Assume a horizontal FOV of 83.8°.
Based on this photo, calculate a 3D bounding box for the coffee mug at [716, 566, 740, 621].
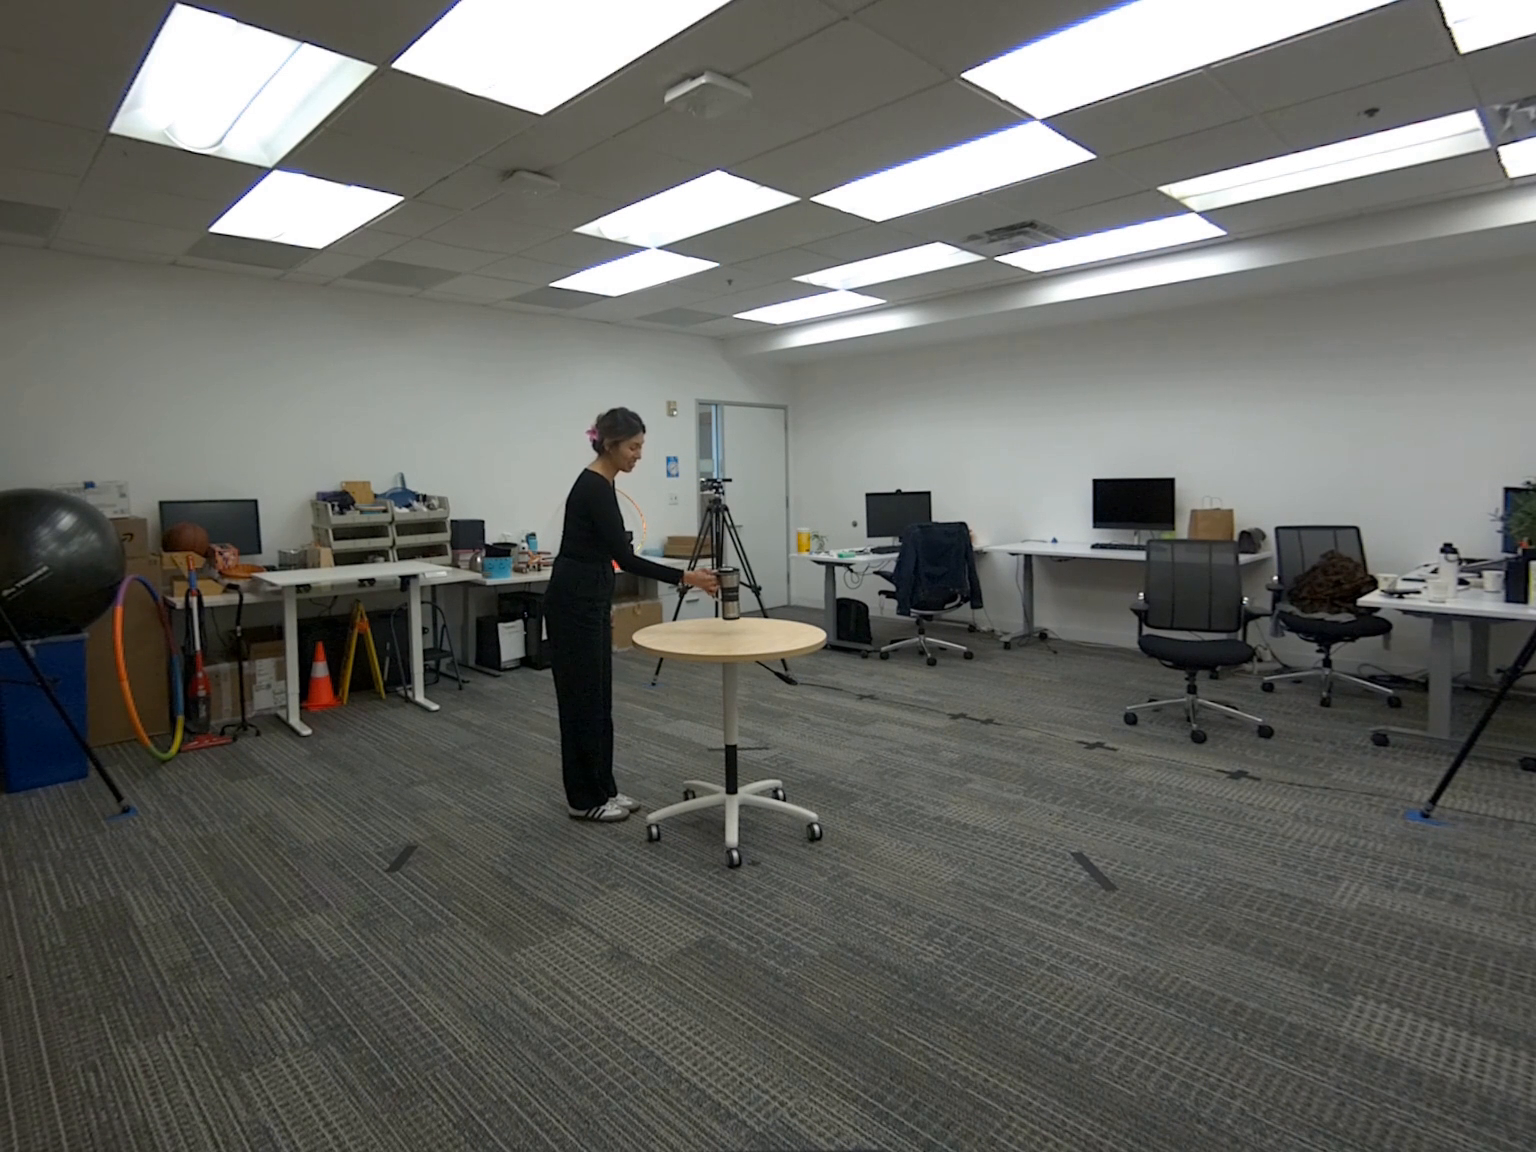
[{"bbox_3d":[-0.161,0.068,3.364,0.086,0.200,0.126,-15,17,-42],"label":"coffee mug"}]
